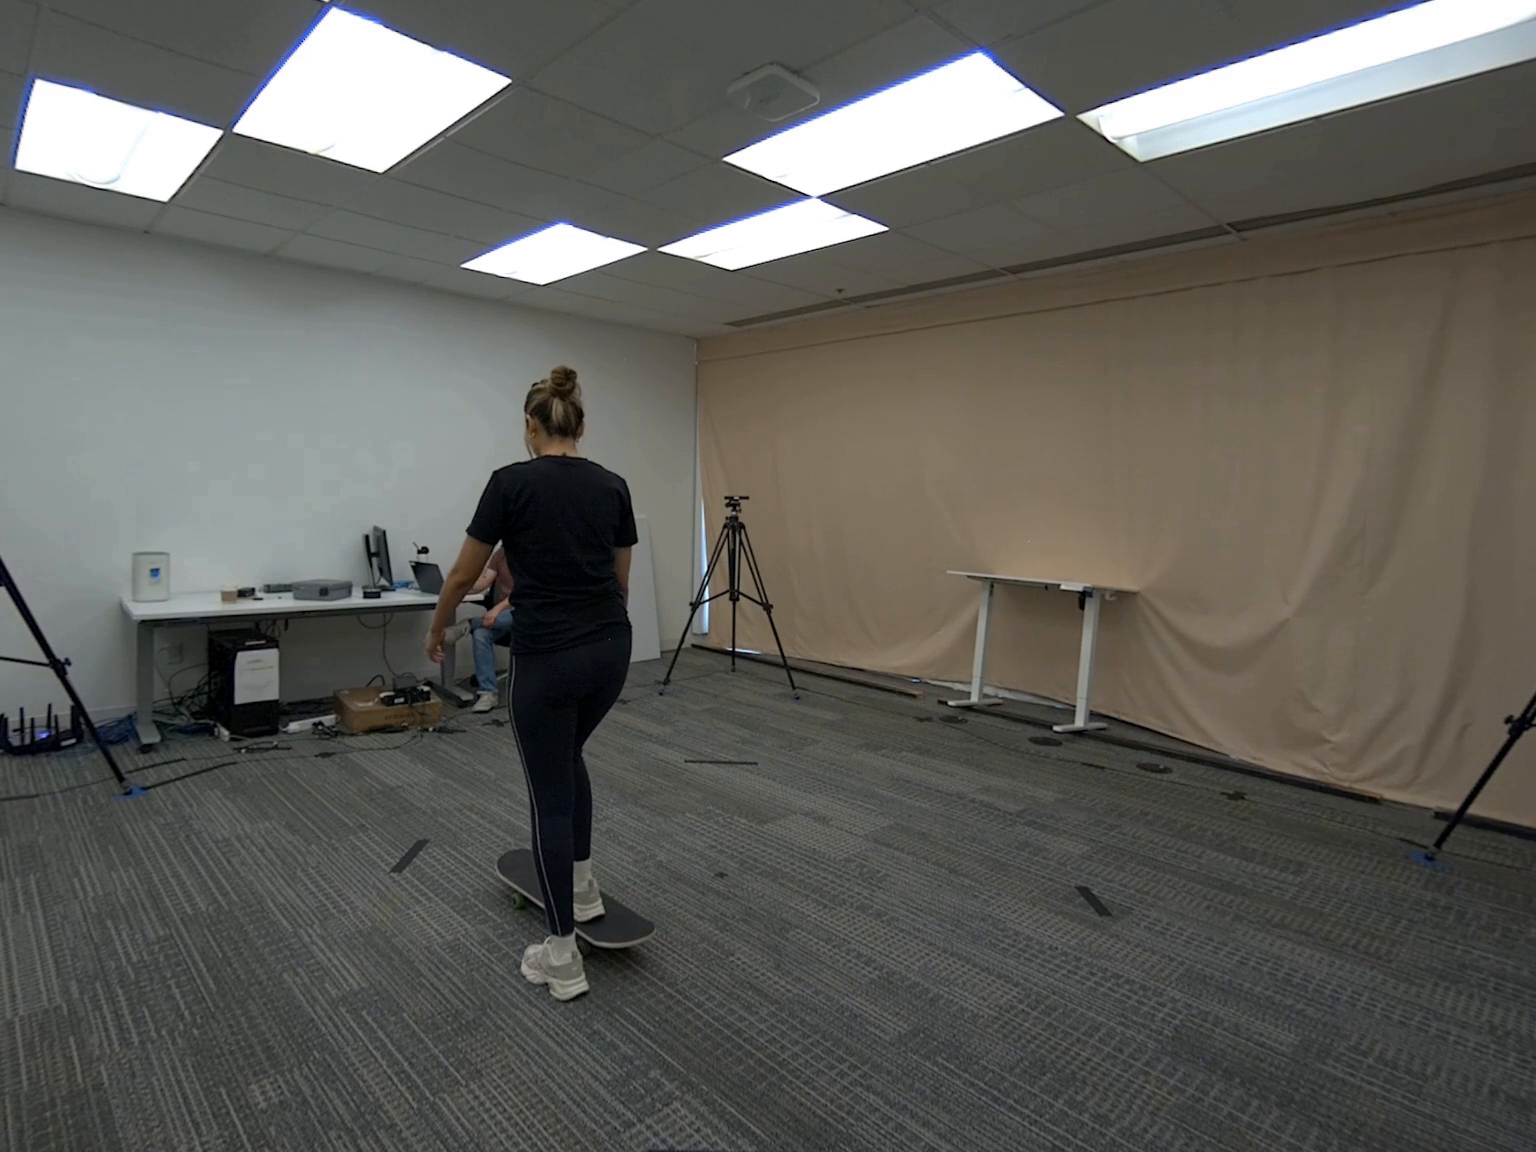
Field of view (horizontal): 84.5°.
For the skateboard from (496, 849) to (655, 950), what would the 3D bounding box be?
[{"bbox_3d":[-0.649,1.078,2.722,0.189,0.110,0.806,-4,7,-44],"label":"skateboard"}]
